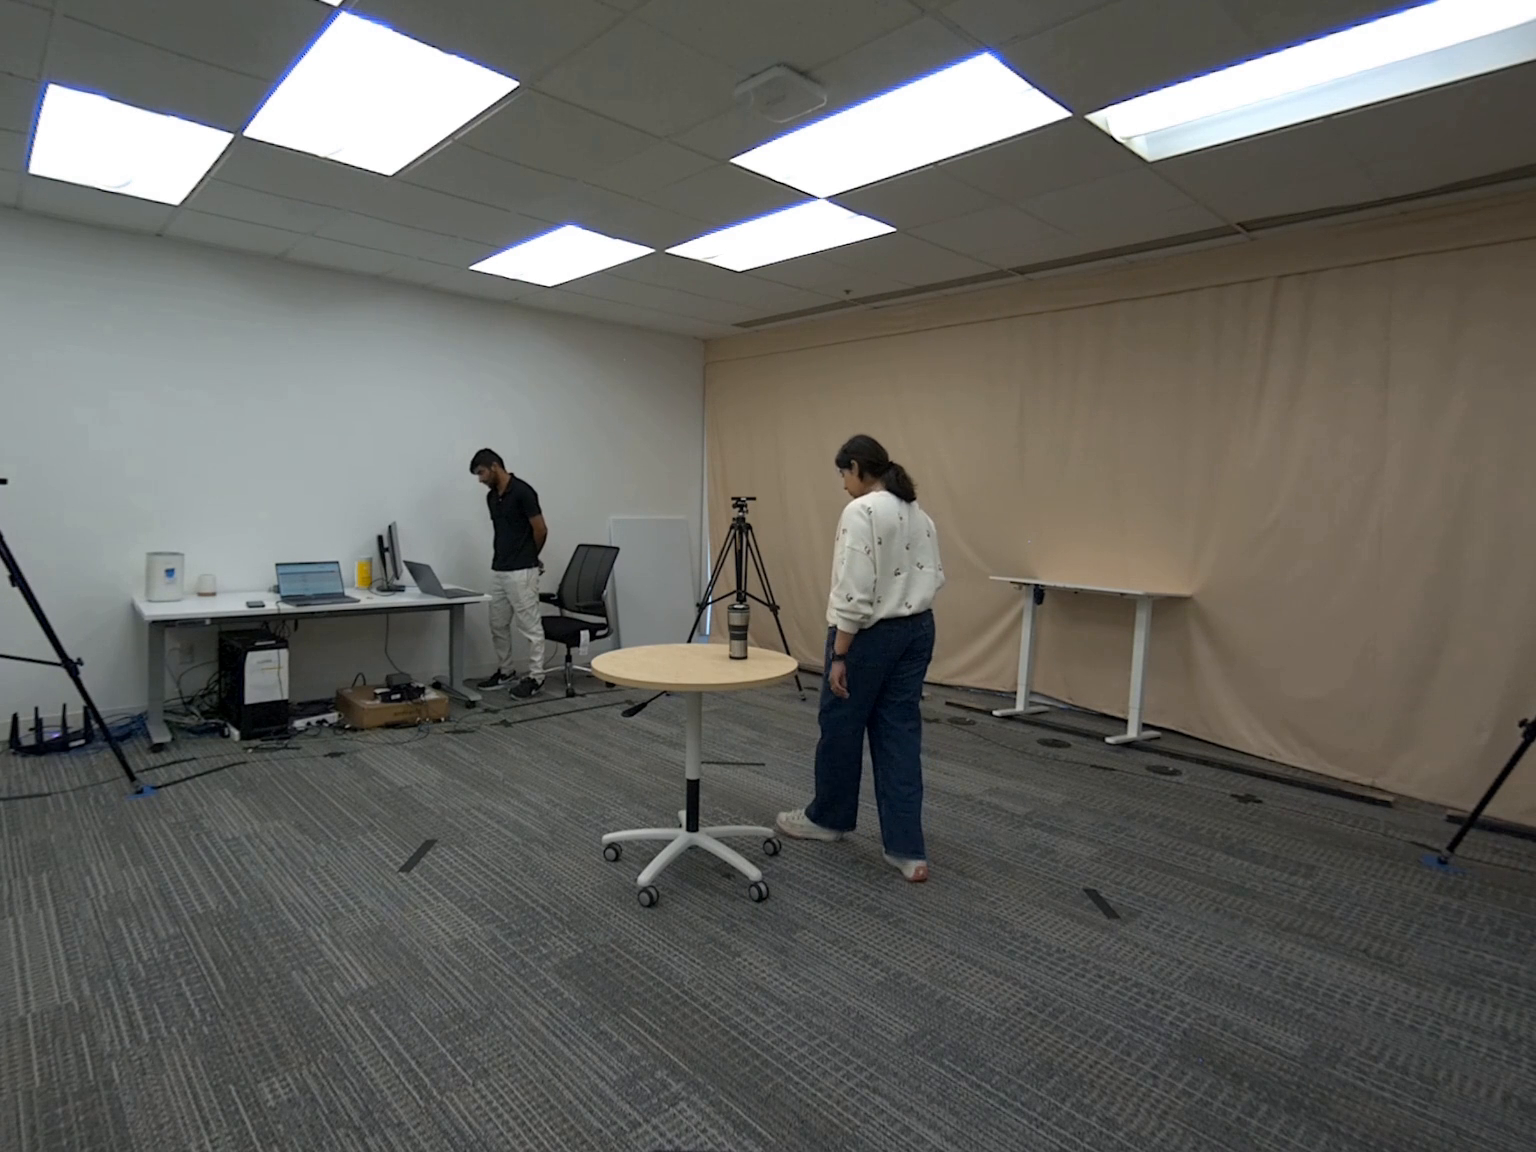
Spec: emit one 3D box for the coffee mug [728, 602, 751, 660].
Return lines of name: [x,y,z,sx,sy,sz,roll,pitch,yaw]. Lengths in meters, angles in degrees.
coffee mug: [-0.119,0.214,3.179,0.088,0.203,0.122,3,2,-3]
